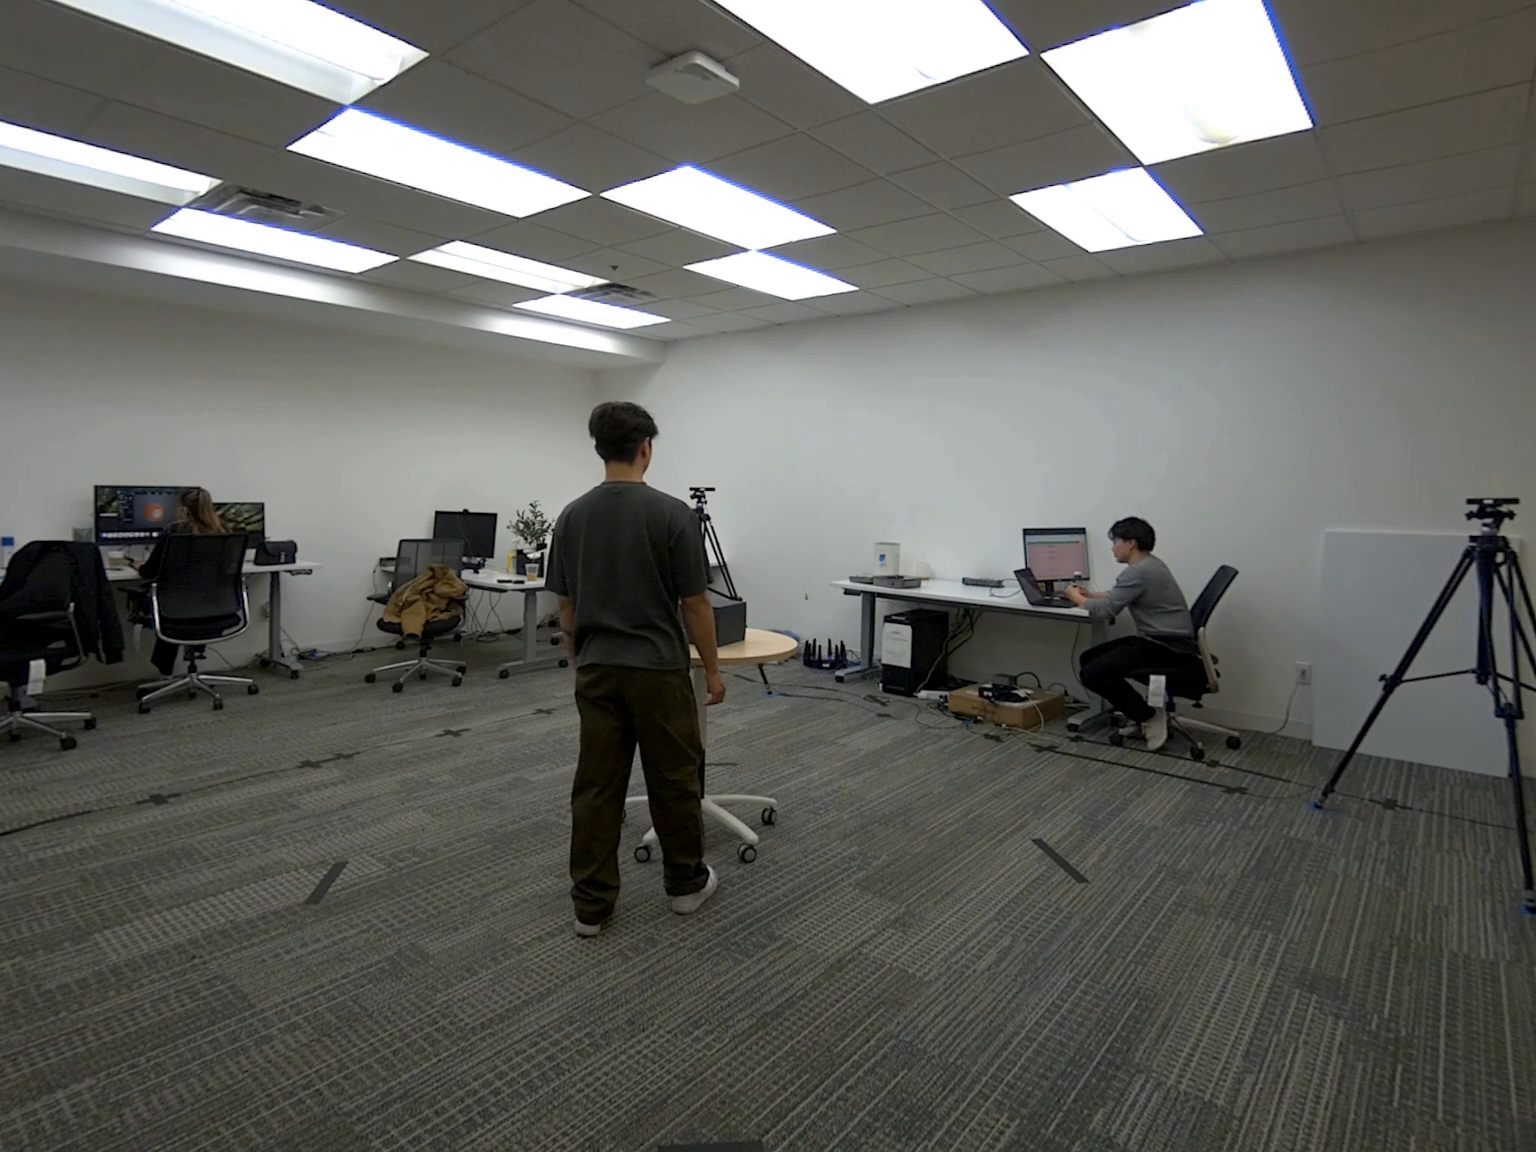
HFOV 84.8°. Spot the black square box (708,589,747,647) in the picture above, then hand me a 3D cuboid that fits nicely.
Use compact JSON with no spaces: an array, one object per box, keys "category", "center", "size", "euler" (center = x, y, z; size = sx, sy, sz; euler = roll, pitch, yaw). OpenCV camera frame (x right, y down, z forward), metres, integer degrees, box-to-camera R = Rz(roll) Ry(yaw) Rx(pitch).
[{"category":"black square box","center":[-0.245,0.175,3.388],"size":[0.223,0.155,0.222],"euler":[4,5,29]}]
